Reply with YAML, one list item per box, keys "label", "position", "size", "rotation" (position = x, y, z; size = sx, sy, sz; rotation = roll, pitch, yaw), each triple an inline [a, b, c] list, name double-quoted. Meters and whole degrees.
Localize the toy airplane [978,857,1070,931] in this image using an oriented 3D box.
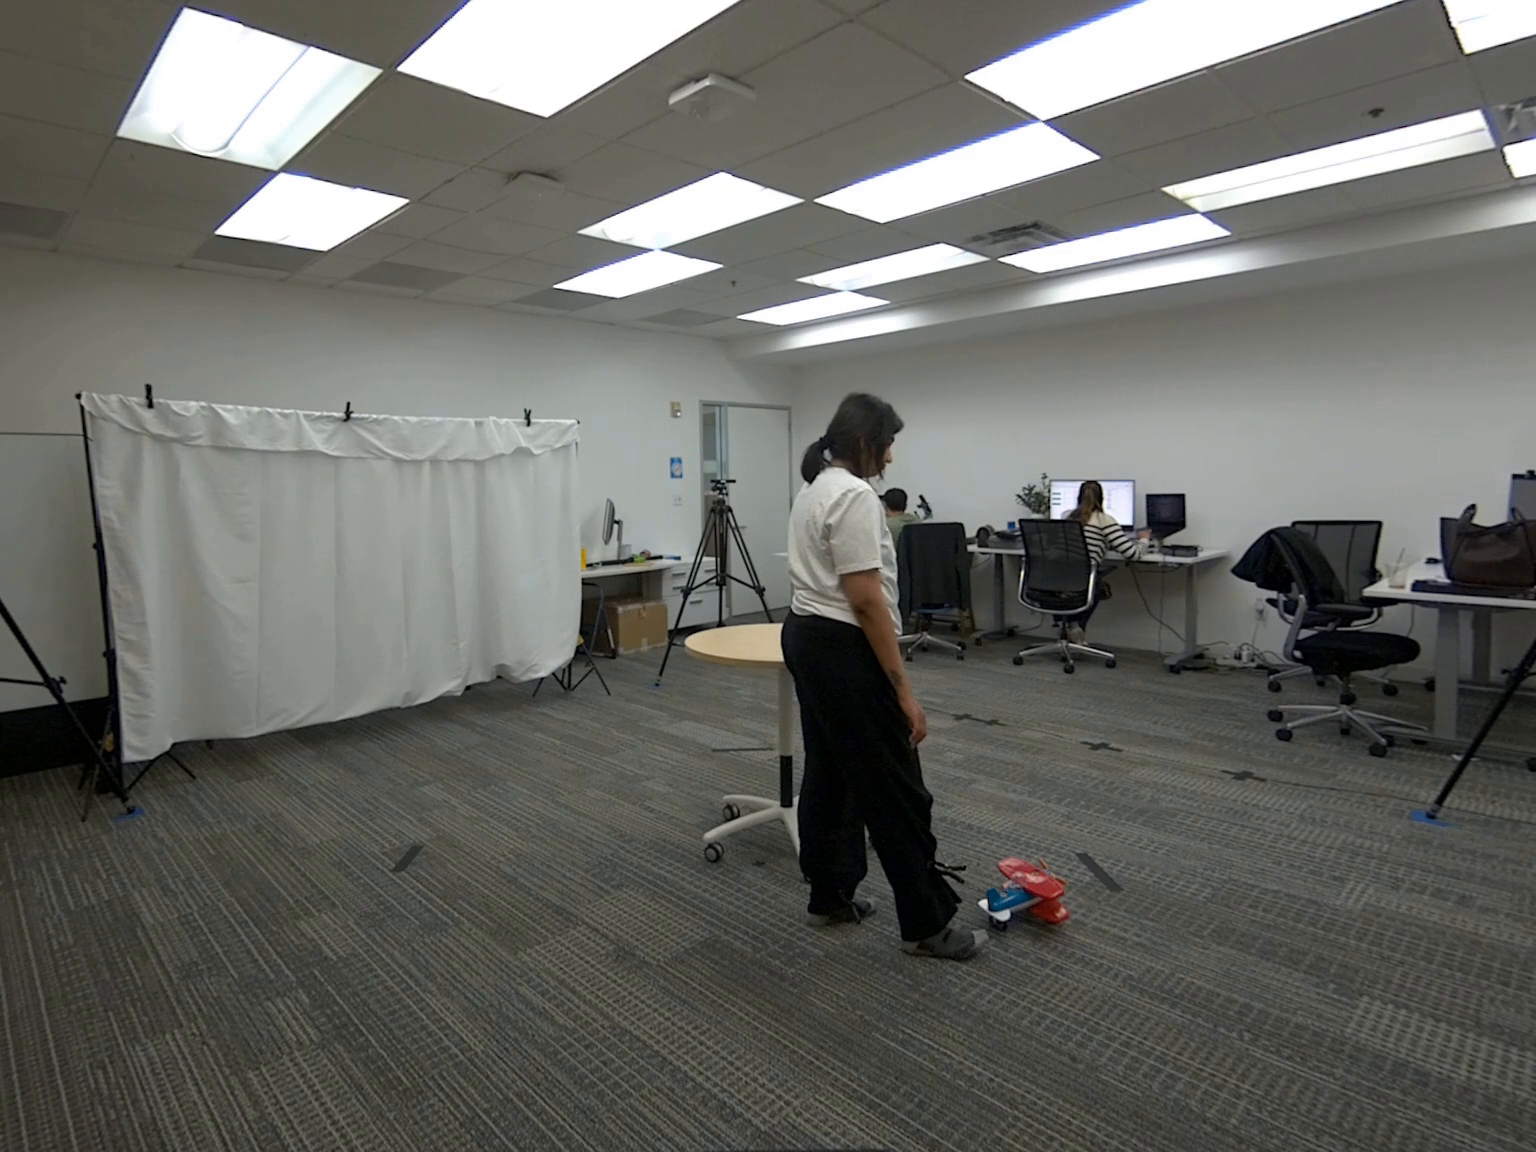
- label: "toy airplane"
  position: [0.811, 1.009, 2.652]
  size: [0.259, 0.156, 0.252]
  rotation: [5, 6, 41]
